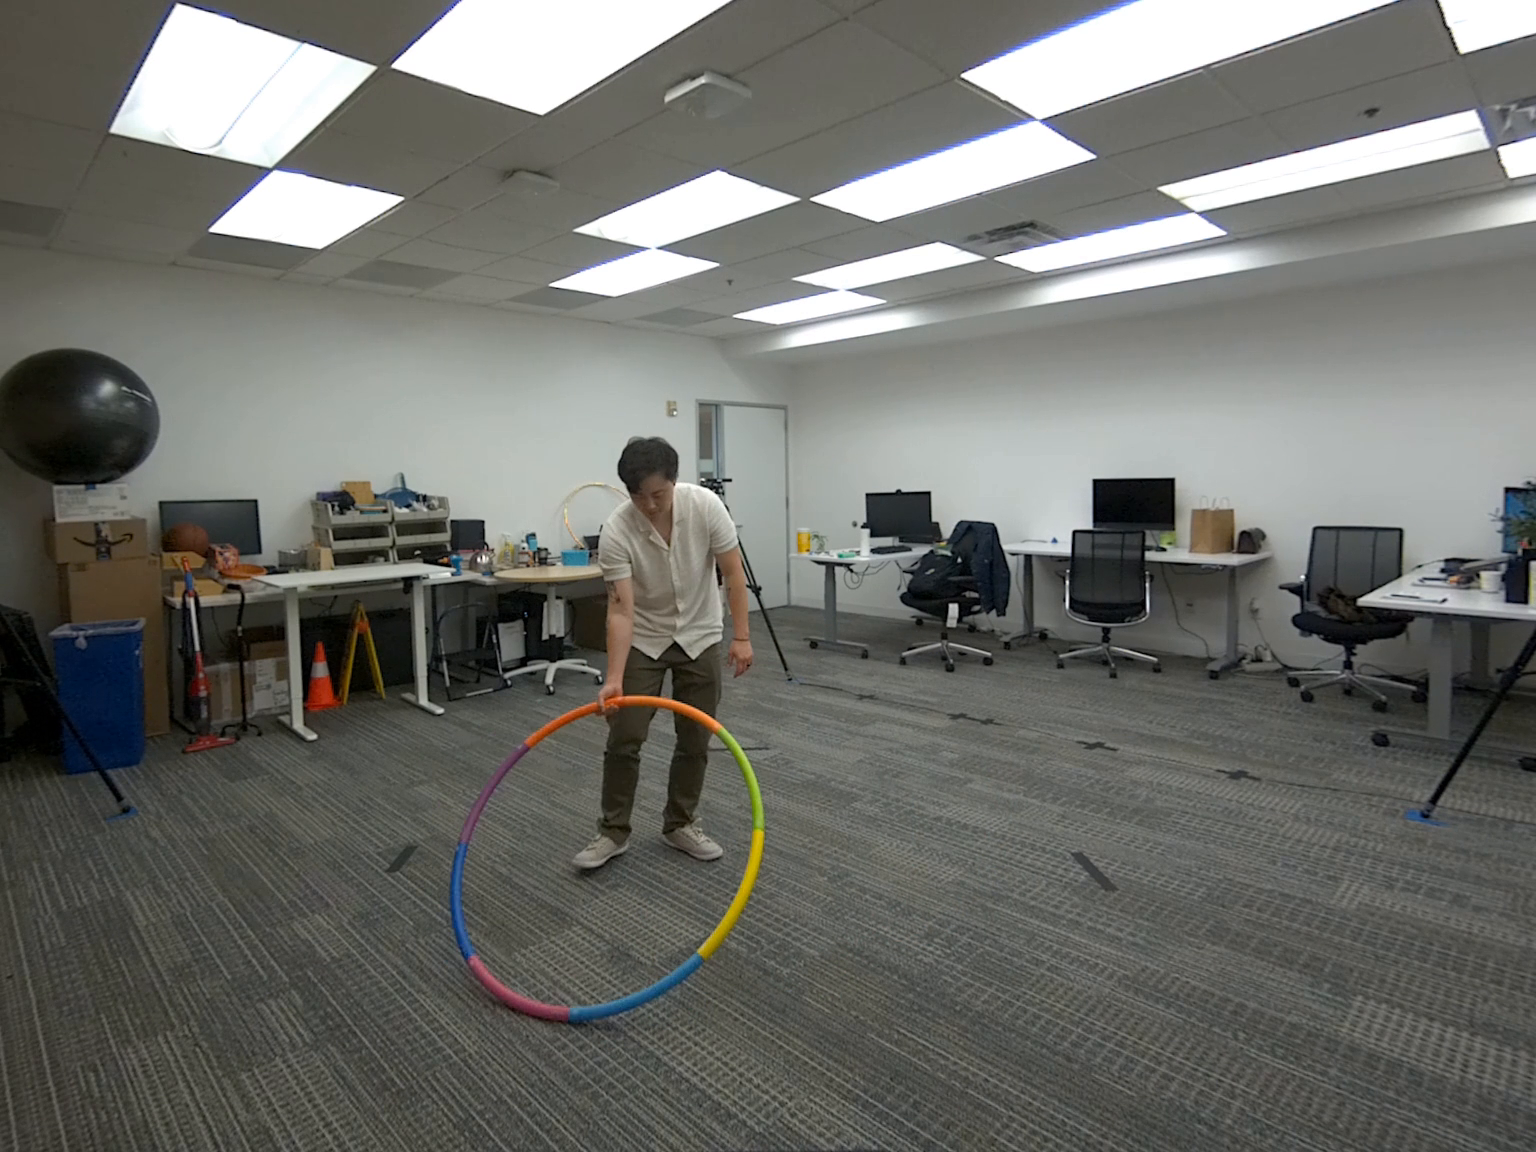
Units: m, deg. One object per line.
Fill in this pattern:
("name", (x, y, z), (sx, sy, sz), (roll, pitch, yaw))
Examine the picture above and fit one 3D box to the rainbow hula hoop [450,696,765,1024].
("rainbow hula hoop", (-0.493, 0.782, 2.544), (0.986, 0.034, 1.006), (-10, 45, 9))
